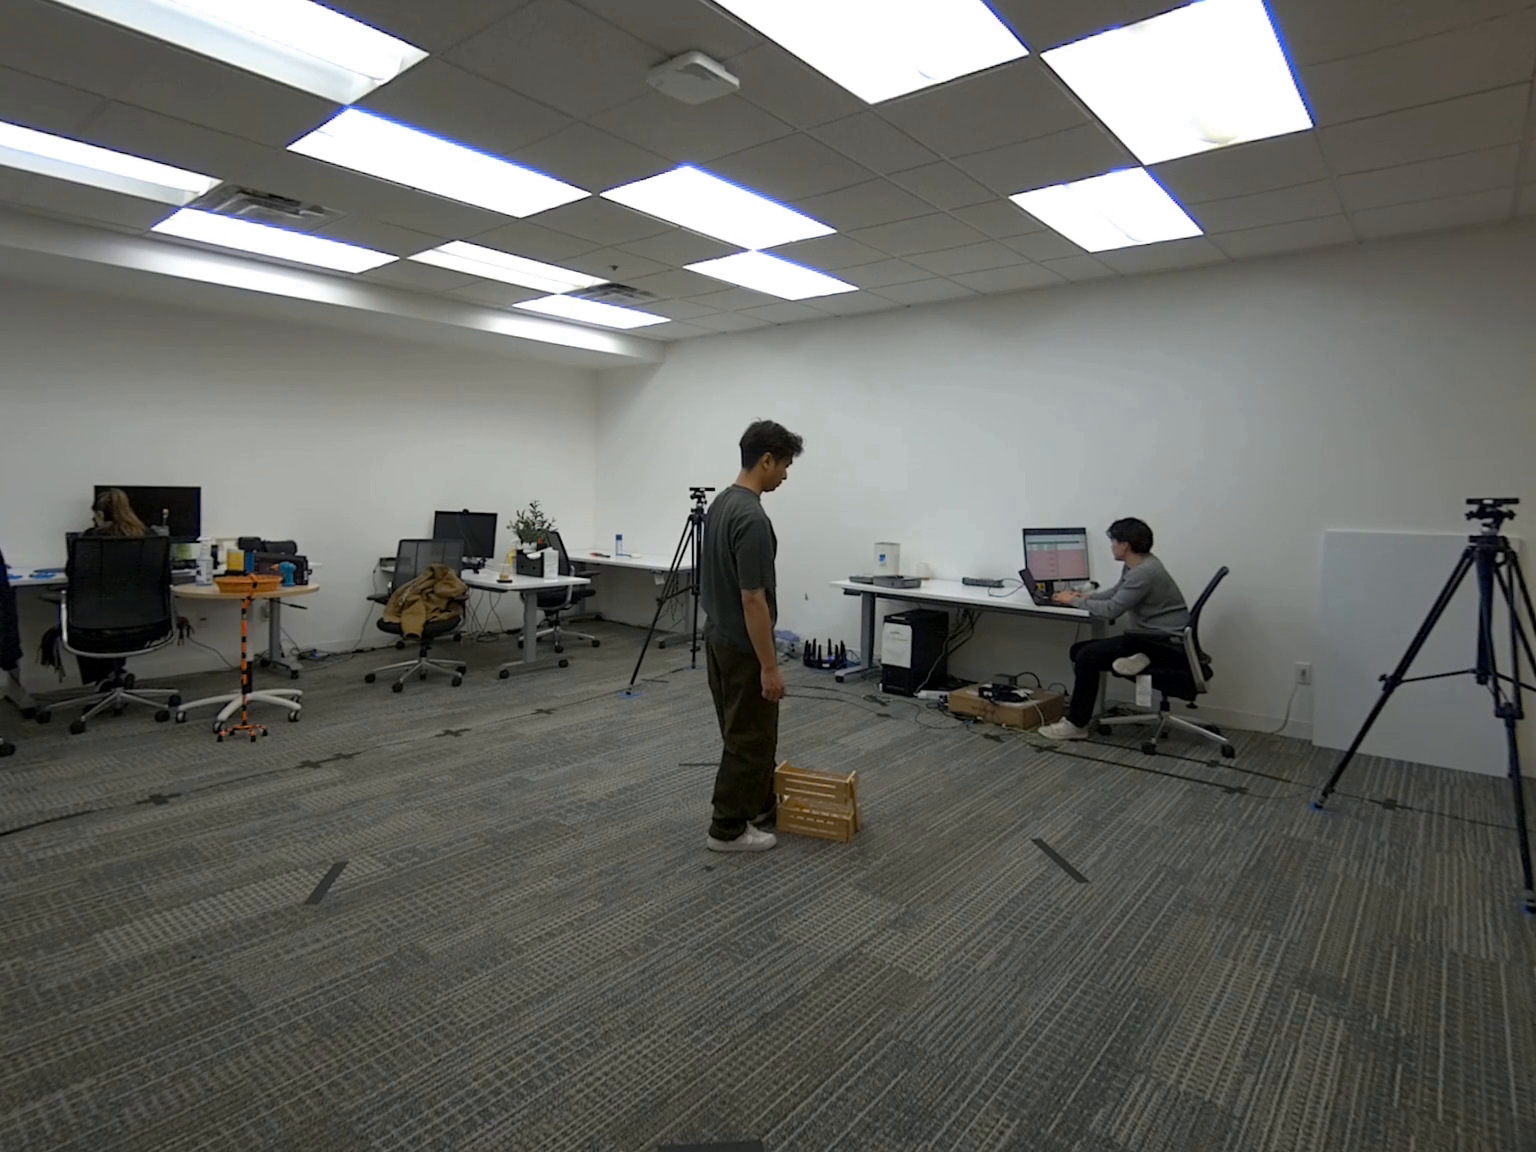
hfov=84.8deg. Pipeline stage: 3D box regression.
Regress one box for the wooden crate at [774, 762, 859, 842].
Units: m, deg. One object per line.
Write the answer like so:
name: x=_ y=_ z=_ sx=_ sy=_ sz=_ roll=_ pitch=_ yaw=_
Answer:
wooden crate: x=0.200 y=0.904 z=3.519 sx=0.331 sy=0.272 sz=0.298 roll=3 pitch=7 yaw=17
